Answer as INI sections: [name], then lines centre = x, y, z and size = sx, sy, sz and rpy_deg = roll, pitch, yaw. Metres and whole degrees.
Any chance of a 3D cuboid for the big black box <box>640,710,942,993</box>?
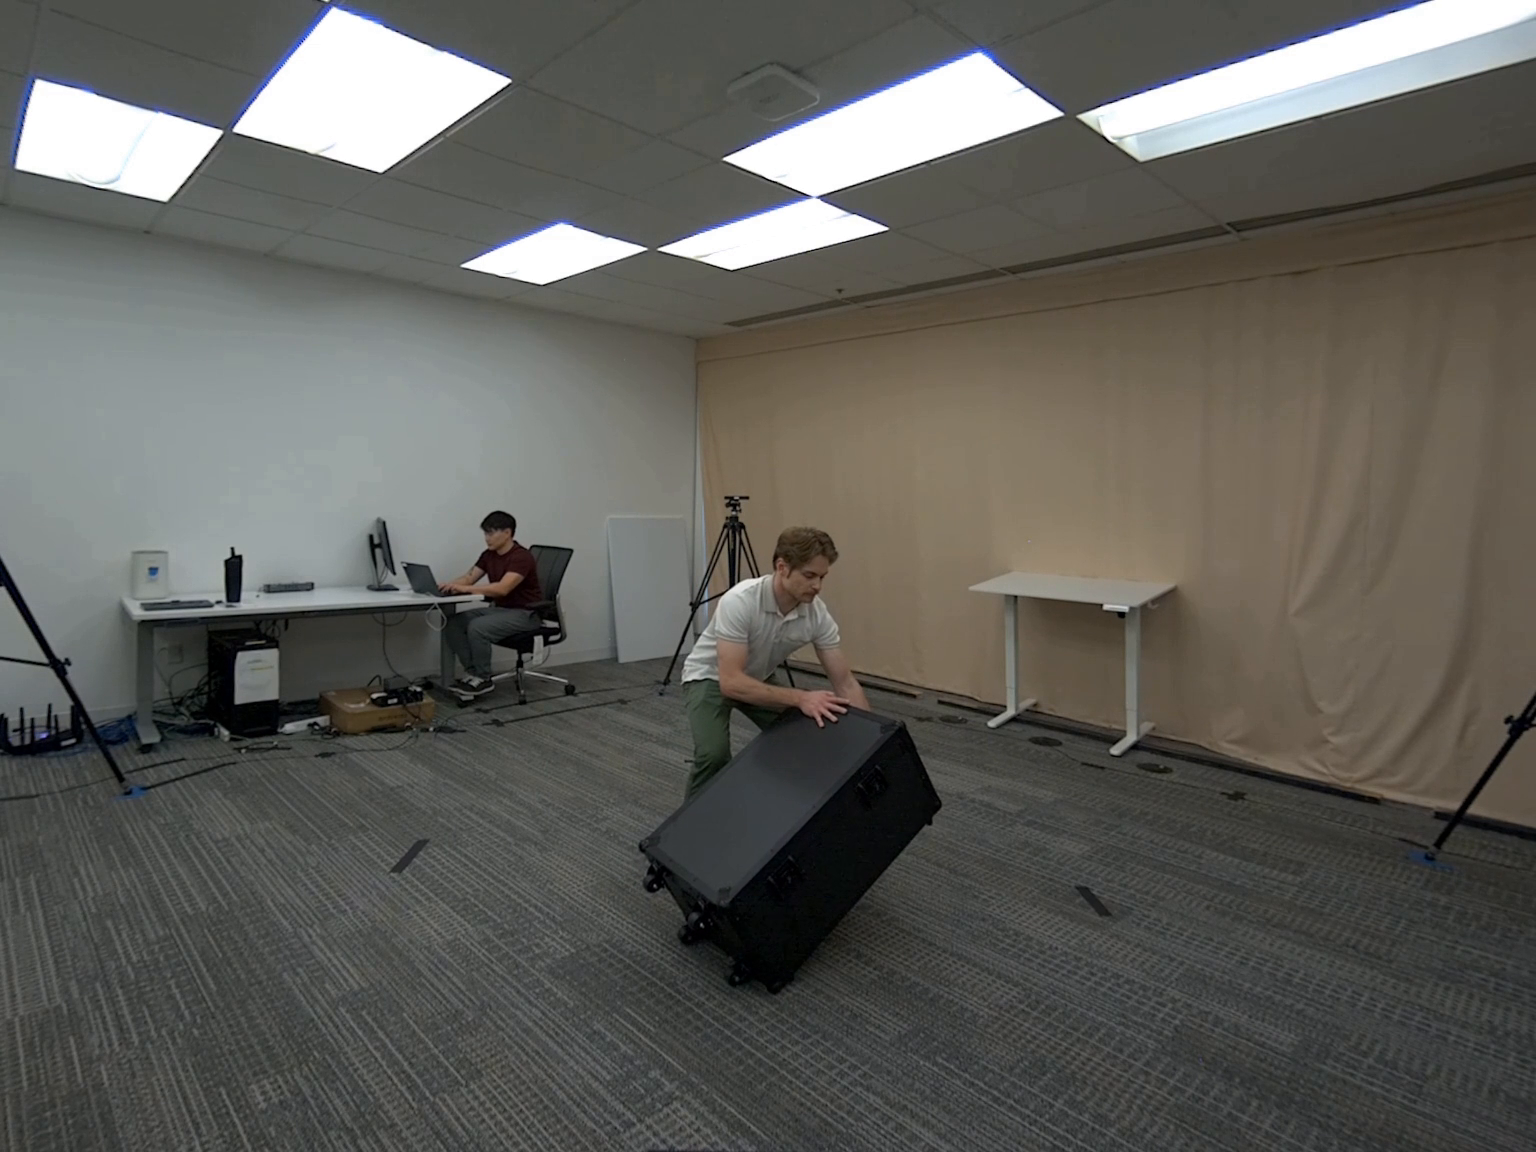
[big black box]
centre = 0.045, 0.815, 2.655
size = 0.865, 0.377, 0.537
rpy_deg = -39, 26, -26
